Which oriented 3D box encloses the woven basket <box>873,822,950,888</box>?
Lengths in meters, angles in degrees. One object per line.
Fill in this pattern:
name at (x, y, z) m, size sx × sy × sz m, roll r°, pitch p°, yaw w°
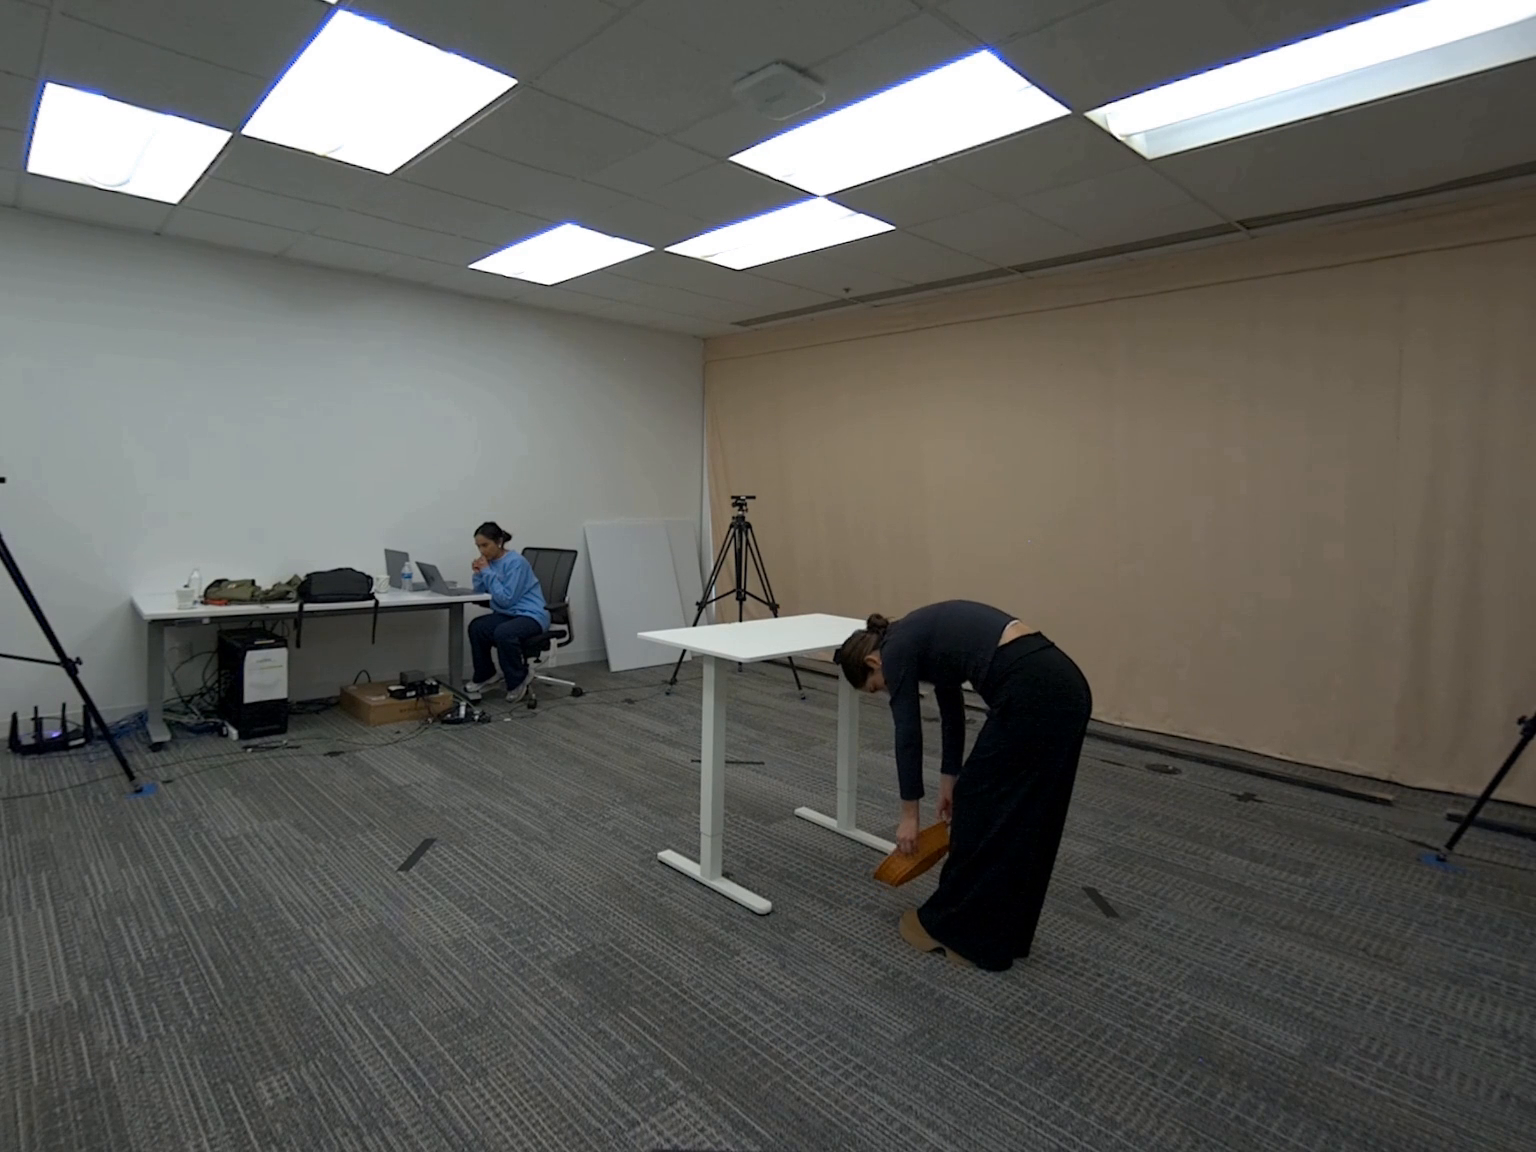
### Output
woven basket at (0.477, 0.911, 2.770) m, size 0.343 × 0.250 × 0.075 m, roll -6°, pitch 42°, yaw -45°
